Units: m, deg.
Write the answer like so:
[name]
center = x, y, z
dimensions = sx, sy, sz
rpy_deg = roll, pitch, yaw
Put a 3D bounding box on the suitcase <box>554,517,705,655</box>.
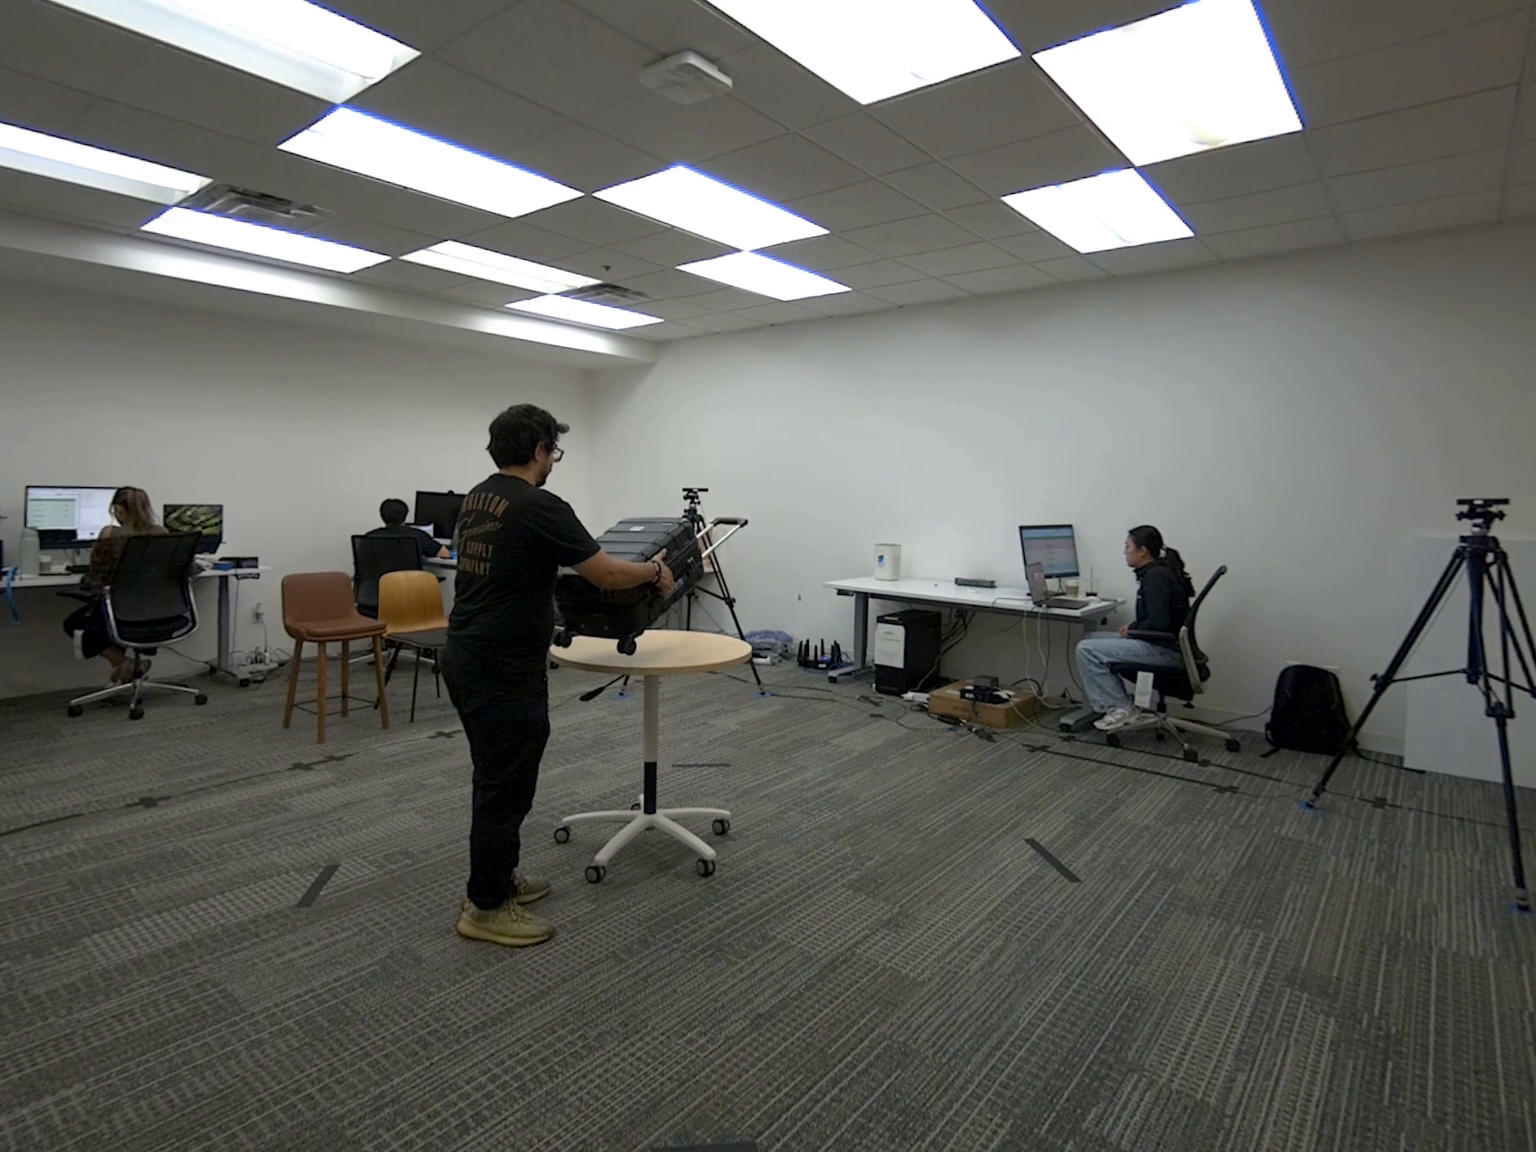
[suitcase]
center = -0.409, -0.100, 3.182
dimensions = 0.395, 0.250, 0.977
rpy_deg = 1, 31, 31
